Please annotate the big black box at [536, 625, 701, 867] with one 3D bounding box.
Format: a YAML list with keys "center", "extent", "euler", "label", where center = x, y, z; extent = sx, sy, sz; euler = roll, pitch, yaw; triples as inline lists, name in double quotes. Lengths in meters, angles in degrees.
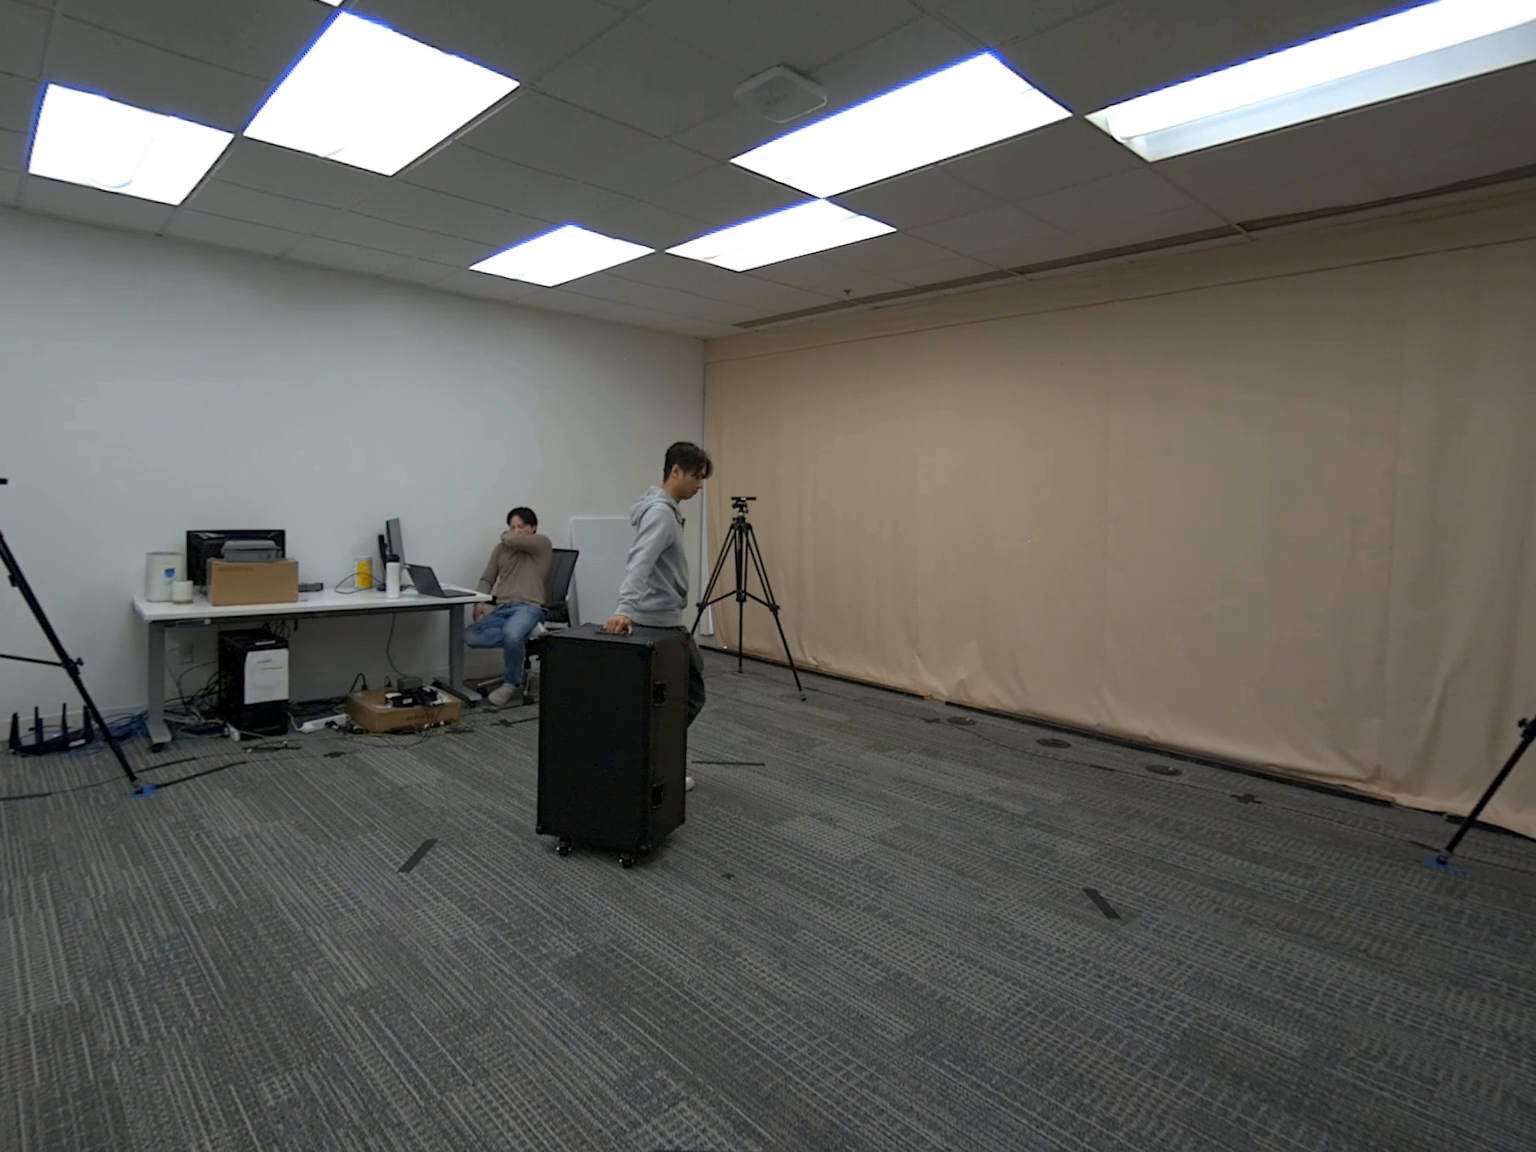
- center: [-0.619, 0.648, 3.350]
  extent: [0.530, 0.860, 0.390]
  euler: [2, 2, 20]
  label: "big black box"
